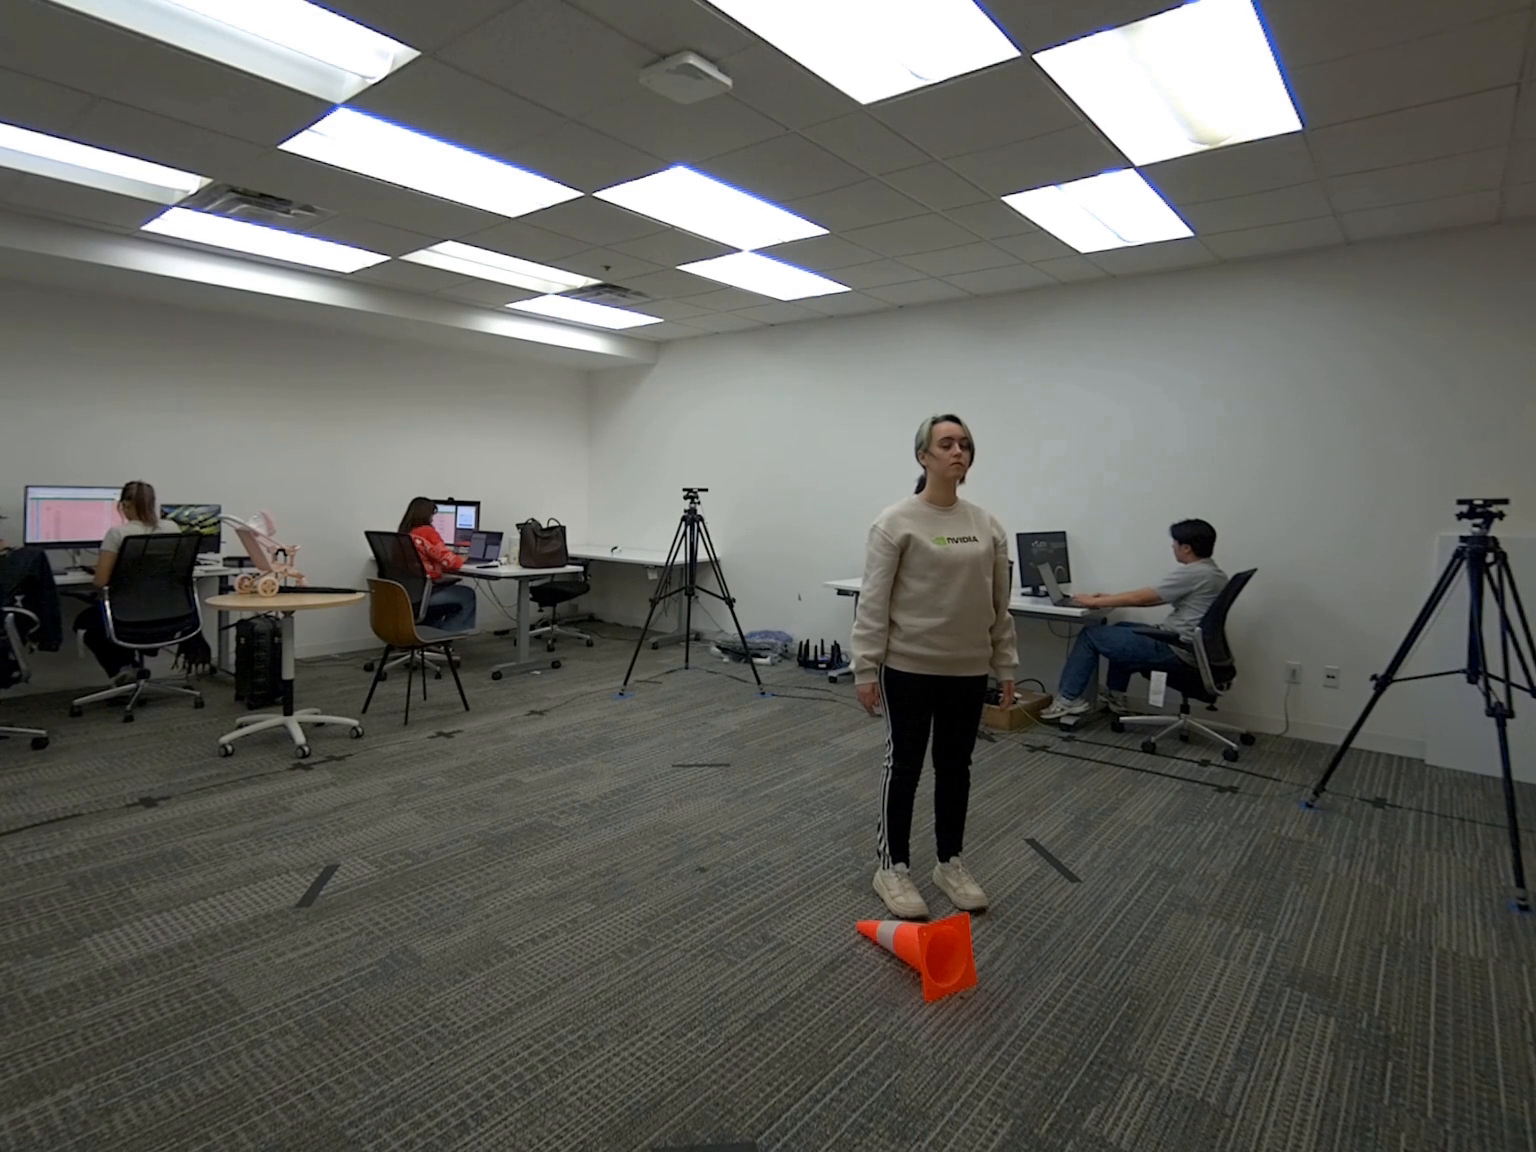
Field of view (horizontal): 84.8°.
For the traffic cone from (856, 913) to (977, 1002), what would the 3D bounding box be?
[{"bbox_3d":[0.392,1.085,2.538,0.197,0.206,0.392,-1,-7,-34],"label":"traffic cone"}]
